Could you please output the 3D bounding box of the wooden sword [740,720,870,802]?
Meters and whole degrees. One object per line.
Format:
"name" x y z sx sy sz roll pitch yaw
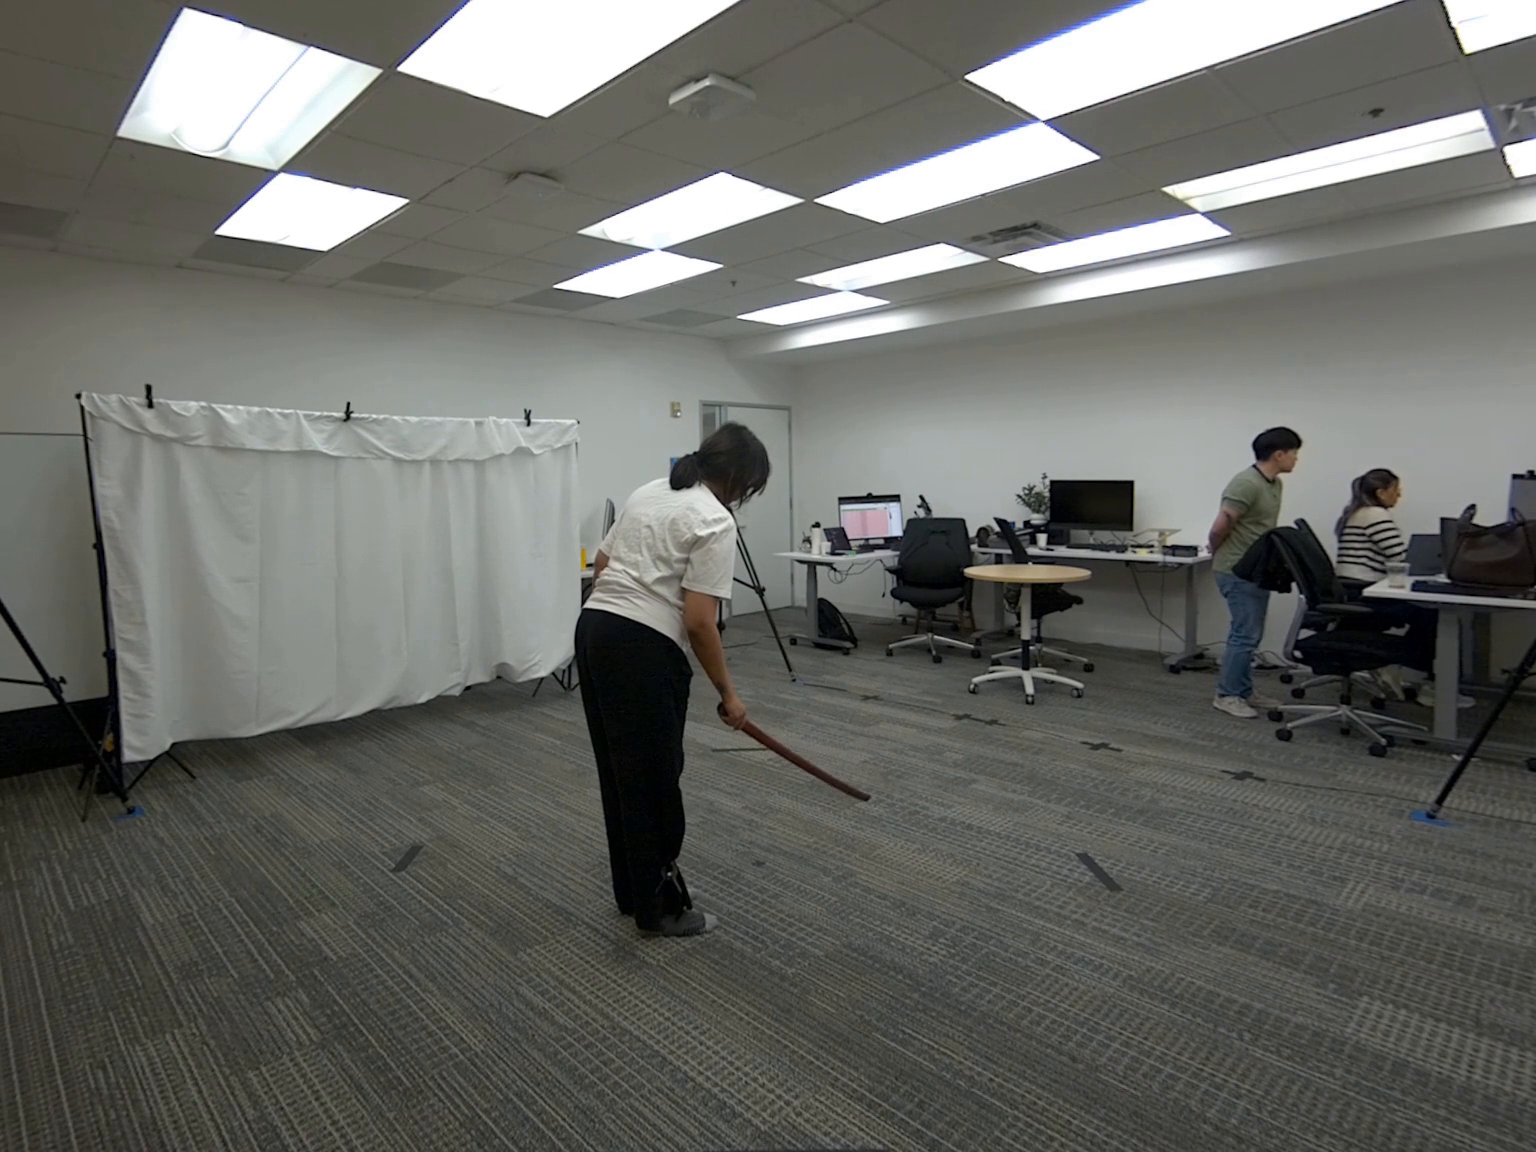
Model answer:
"wooden sword" 0.128 0.643 2.953 0.052 0.024 0.985 -17 -36 27
